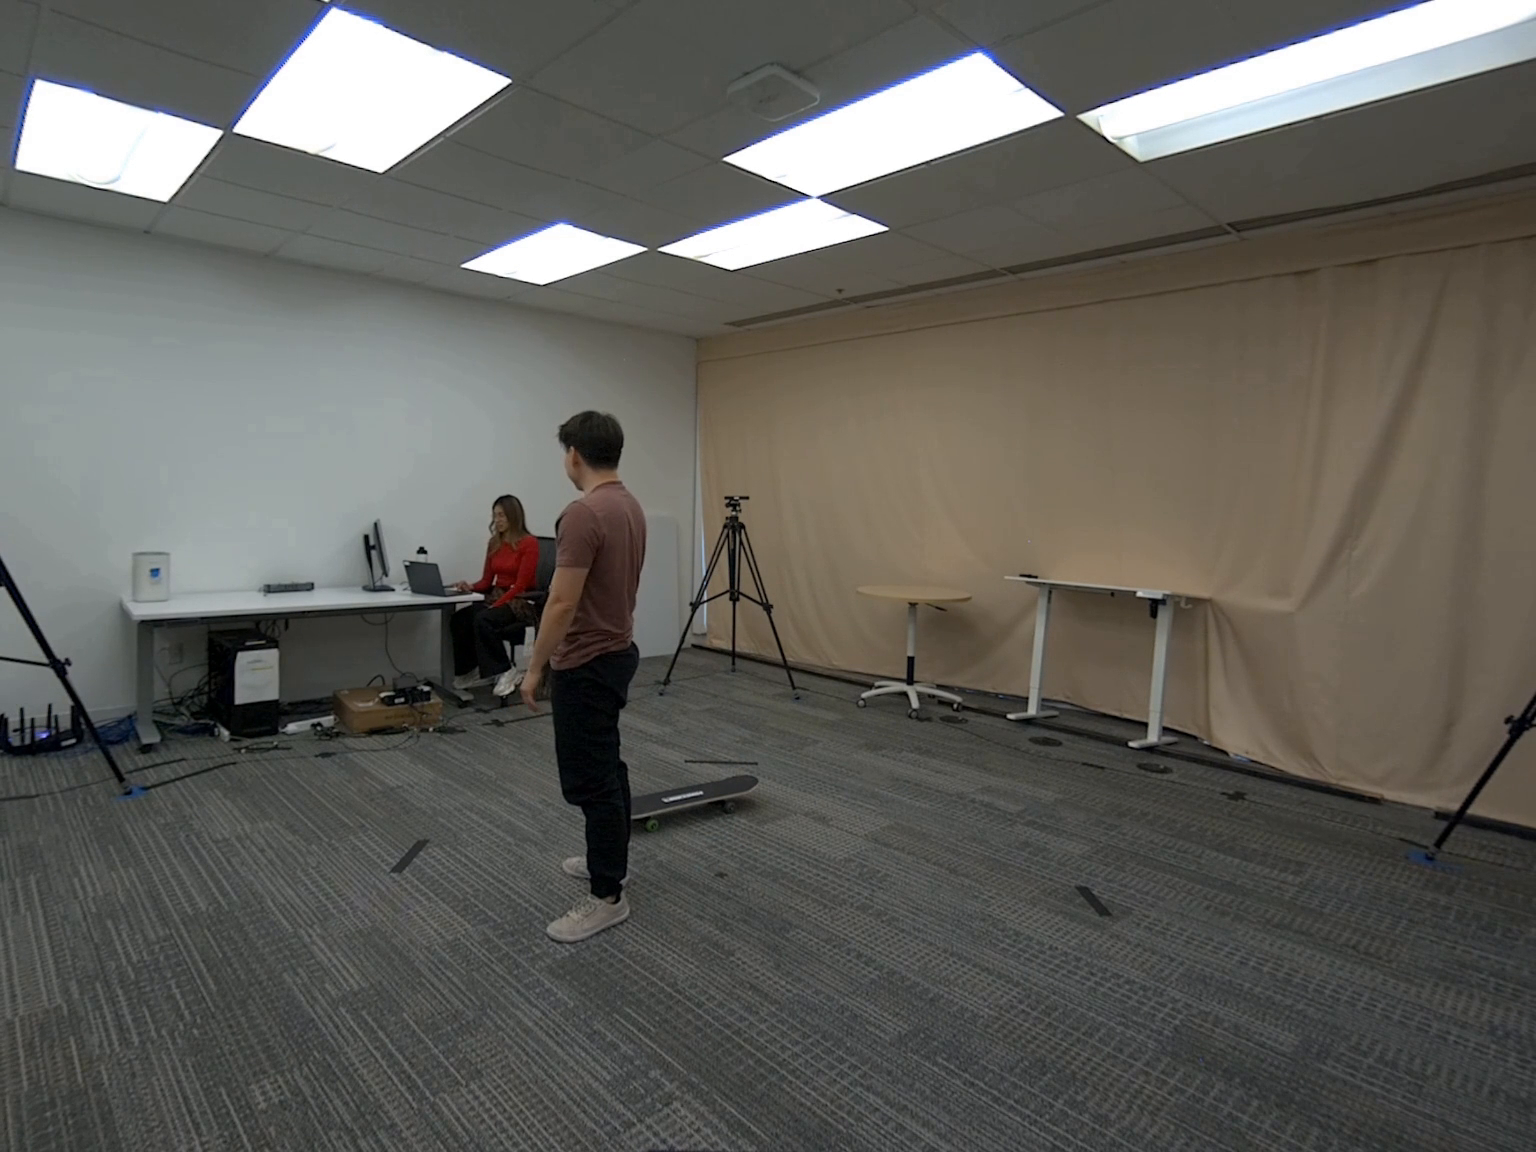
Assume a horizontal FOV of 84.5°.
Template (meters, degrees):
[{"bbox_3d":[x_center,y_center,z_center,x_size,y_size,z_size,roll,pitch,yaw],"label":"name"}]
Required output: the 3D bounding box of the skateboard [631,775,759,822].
[{"bbox_3d":[-0.380,0.991,3.668,0.768,0.110,0.198,-2,6,-37],"label":"skateboard"}]
